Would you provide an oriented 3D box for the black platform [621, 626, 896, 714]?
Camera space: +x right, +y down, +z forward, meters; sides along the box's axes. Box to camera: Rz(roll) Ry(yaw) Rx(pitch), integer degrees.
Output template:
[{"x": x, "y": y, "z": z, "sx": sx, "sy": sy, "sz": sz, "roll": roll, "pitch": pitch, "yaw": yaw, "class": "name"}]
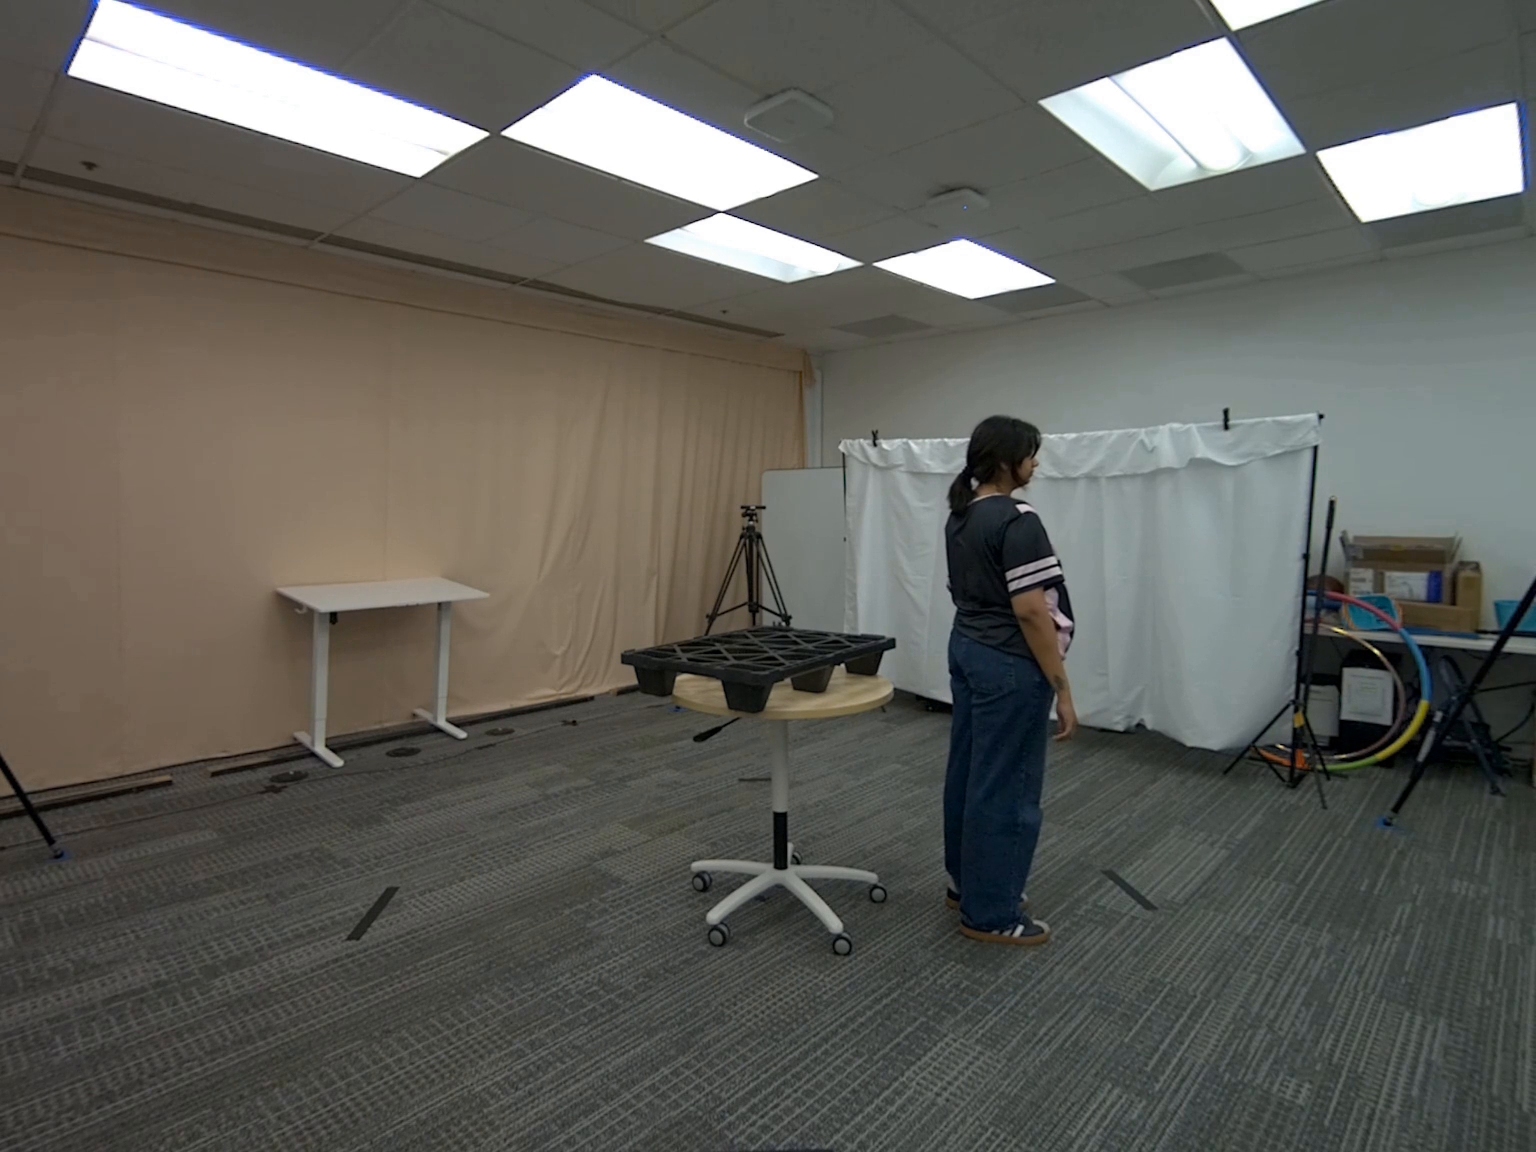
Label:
[{"x": -0.020, "y": 0.308, "z": 2.877, "sx": 0.625, "sy": 0.143, "sz": 0.781, "roll": 2, "pitch": 5, "yaw": 39, "class": "black platform"}]
